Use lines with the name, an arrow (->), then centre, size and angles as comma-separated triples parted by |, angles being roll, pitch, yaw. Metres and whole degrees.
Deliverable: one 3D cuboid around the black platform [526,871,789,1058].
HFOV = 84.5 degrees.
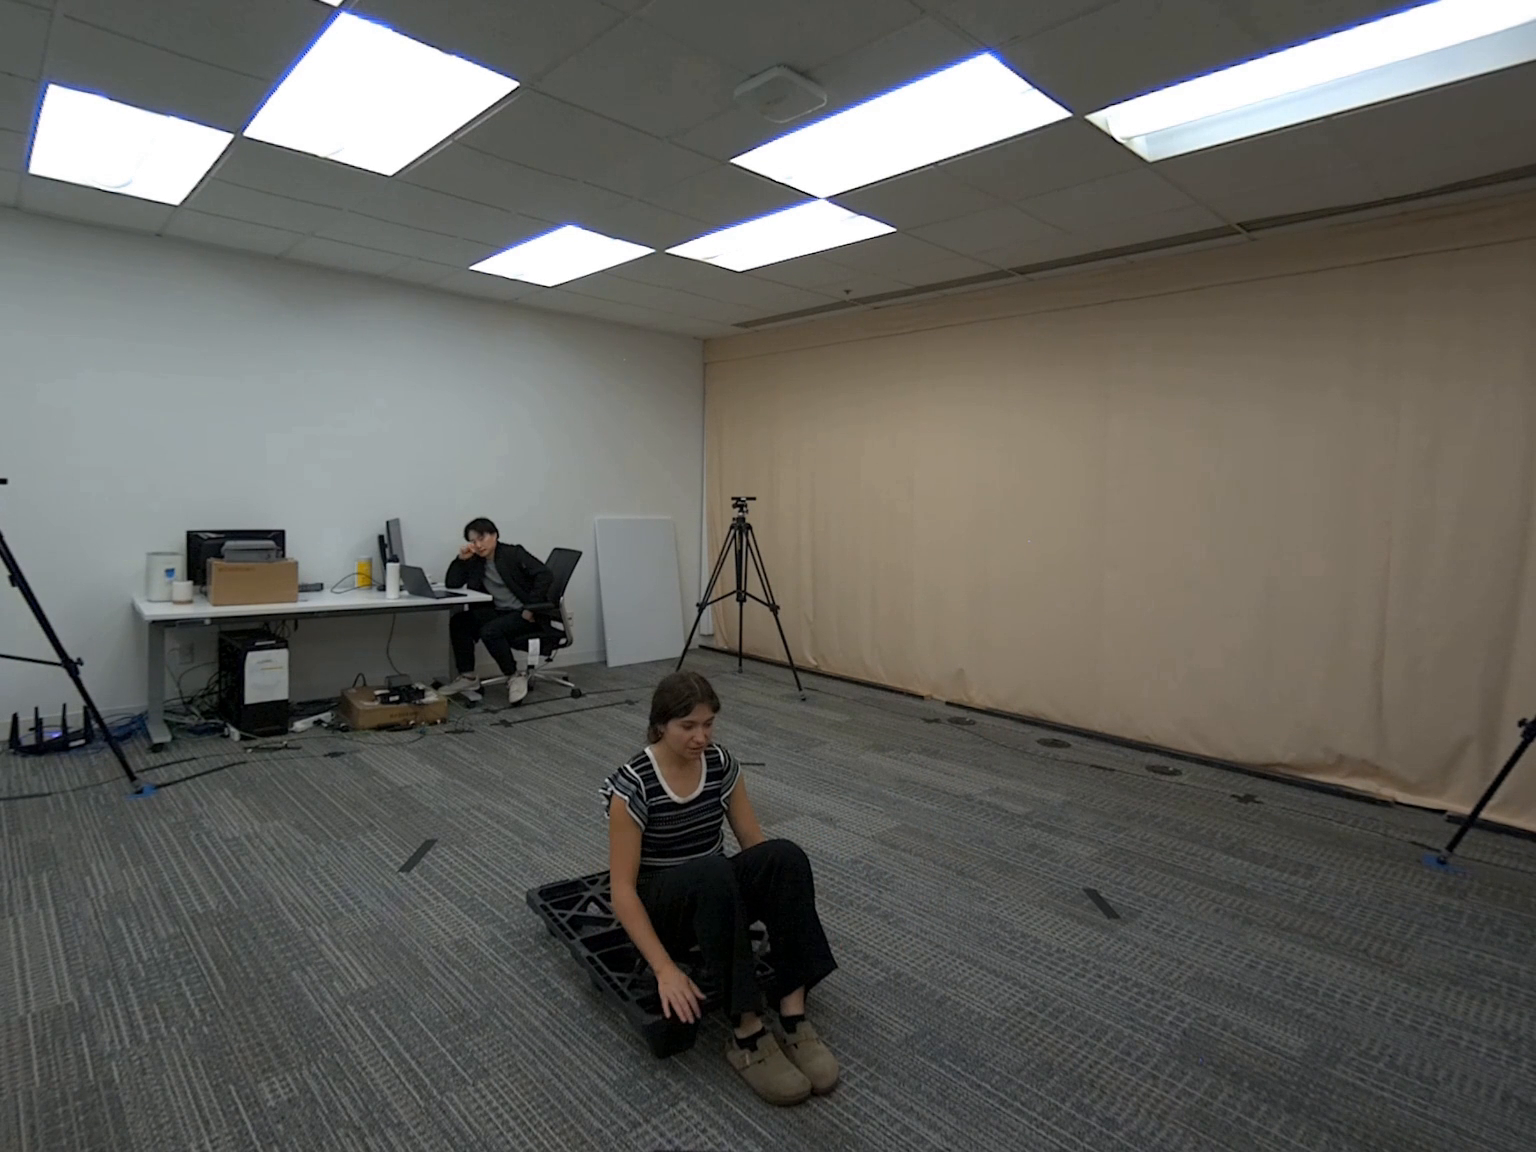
black platform -> -0.306, 1.092, 2.503 | 0.592, 0.143, 0.826 | -4, 8, -35
